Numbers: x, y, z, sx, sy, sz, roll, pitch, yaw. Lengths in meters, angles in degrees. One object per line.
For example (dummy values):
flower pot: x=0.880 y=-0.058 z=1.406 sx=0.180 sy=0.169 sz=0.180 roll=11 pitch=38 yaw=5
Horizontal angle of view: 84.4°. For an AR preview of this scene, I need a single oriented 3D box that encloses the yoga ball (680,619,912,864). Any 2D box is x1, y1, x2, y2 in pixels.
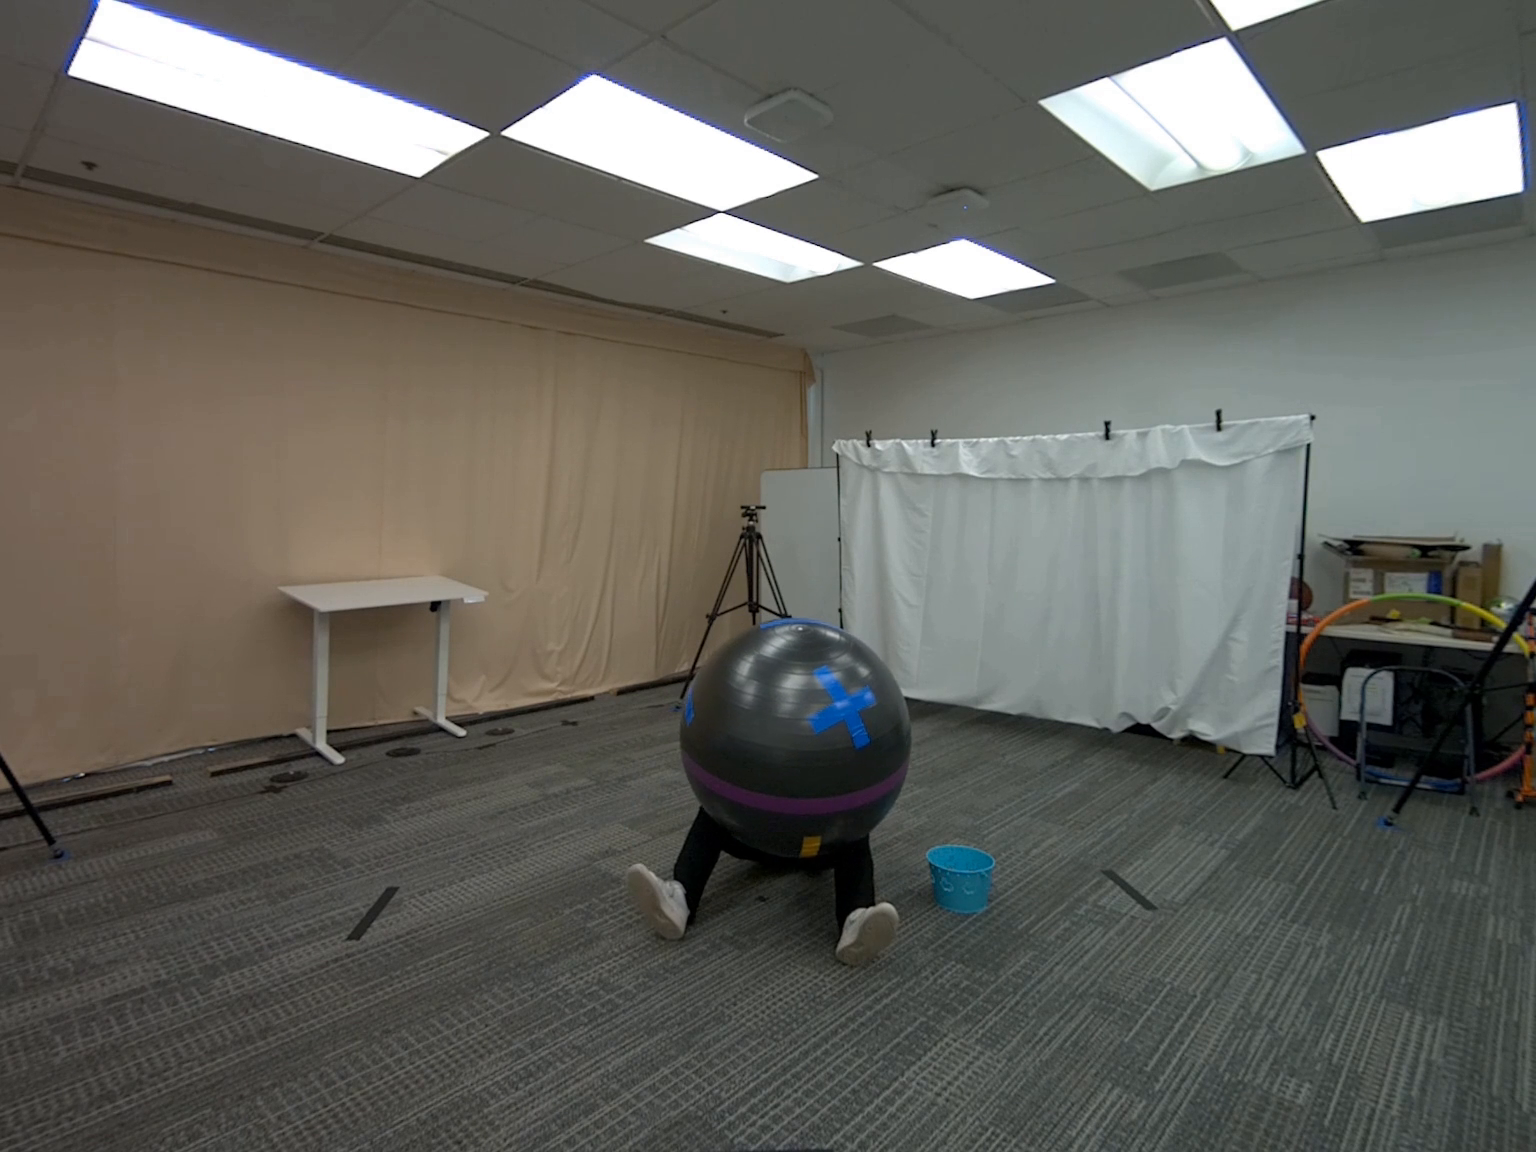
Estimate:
yoga ball: x=0.093 y=0.533 z=2.780 sx=0.757 sy=0.756 sz=0.760 roll=0 pitch=4 yaw=-2
